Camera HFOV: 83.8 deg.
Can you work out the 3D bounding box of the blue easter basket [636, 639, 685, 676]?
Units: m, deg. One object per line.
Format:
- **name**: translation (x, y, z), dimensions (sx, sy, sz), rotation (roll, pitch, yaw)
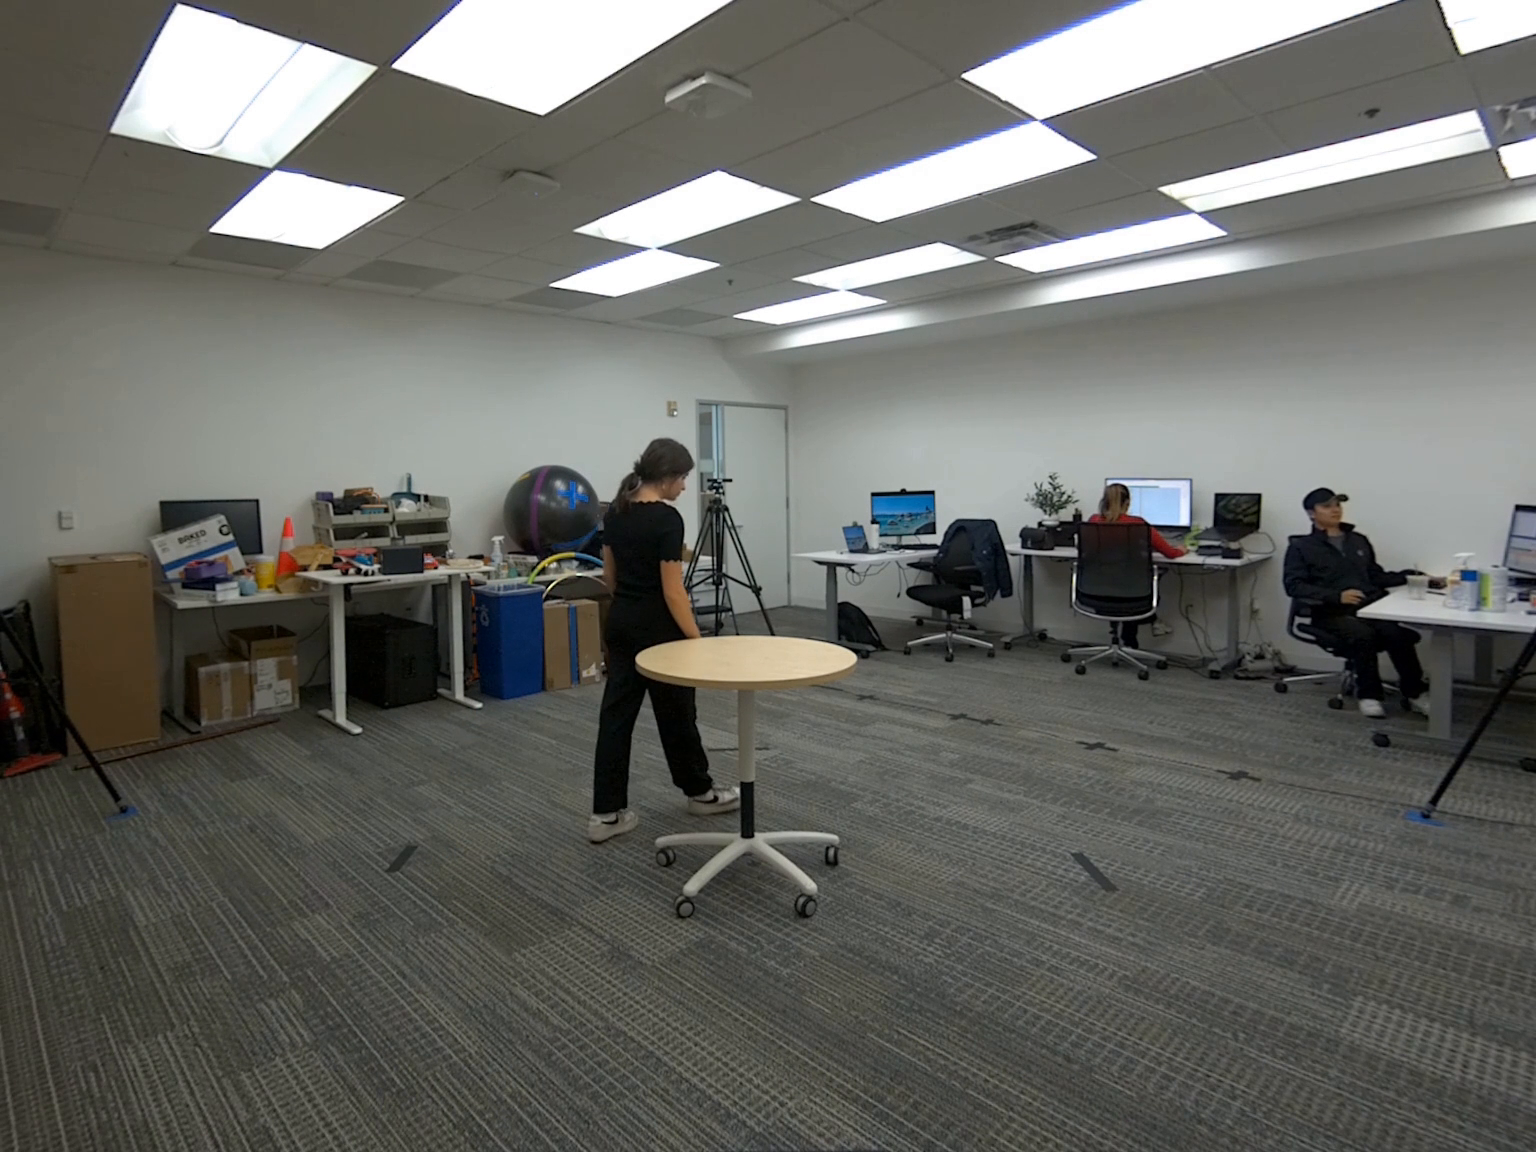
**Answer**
- **blue easter basket**: translation (-0.509, 0.319, 3.796), dimensions (0.244, 0.156, 0.243), rotation (14, -2, -1)
